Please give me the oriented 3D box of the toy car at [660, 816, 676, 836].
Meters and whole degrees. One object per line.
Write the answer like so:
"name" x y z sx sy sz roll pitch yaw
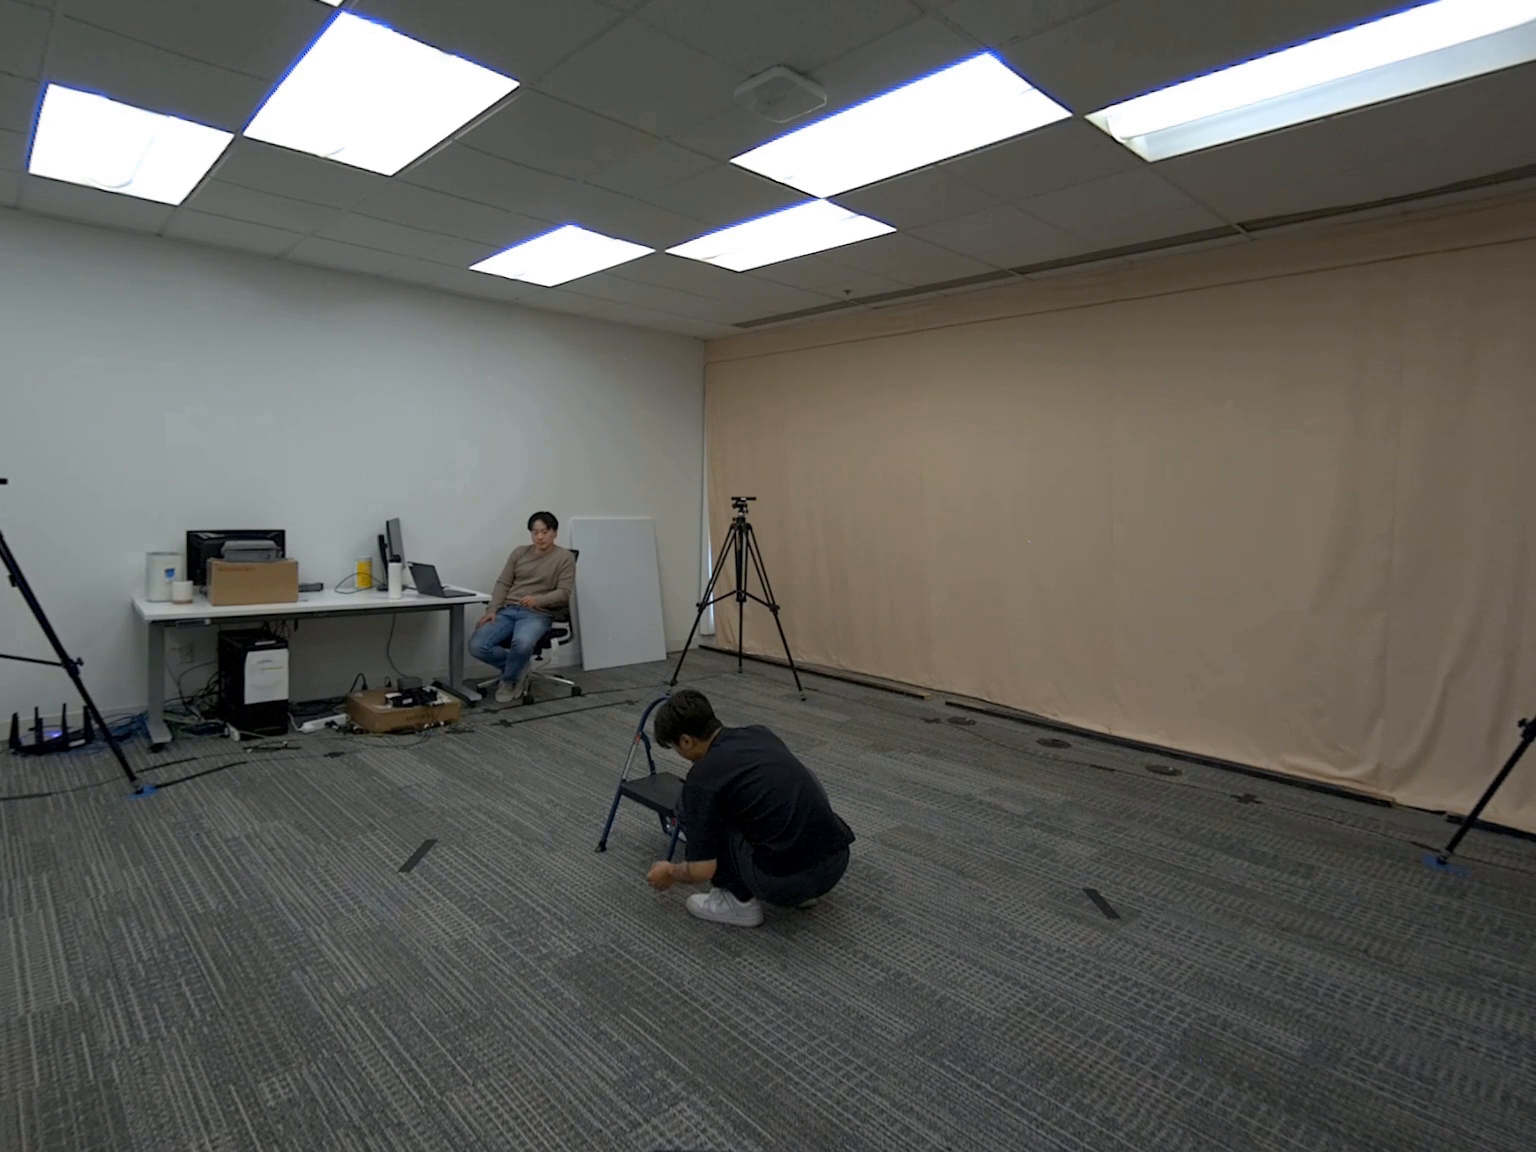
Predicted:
"toy car" -0.278 0.997 3.399 0.249 0.083 0.133 -3 5 -31
